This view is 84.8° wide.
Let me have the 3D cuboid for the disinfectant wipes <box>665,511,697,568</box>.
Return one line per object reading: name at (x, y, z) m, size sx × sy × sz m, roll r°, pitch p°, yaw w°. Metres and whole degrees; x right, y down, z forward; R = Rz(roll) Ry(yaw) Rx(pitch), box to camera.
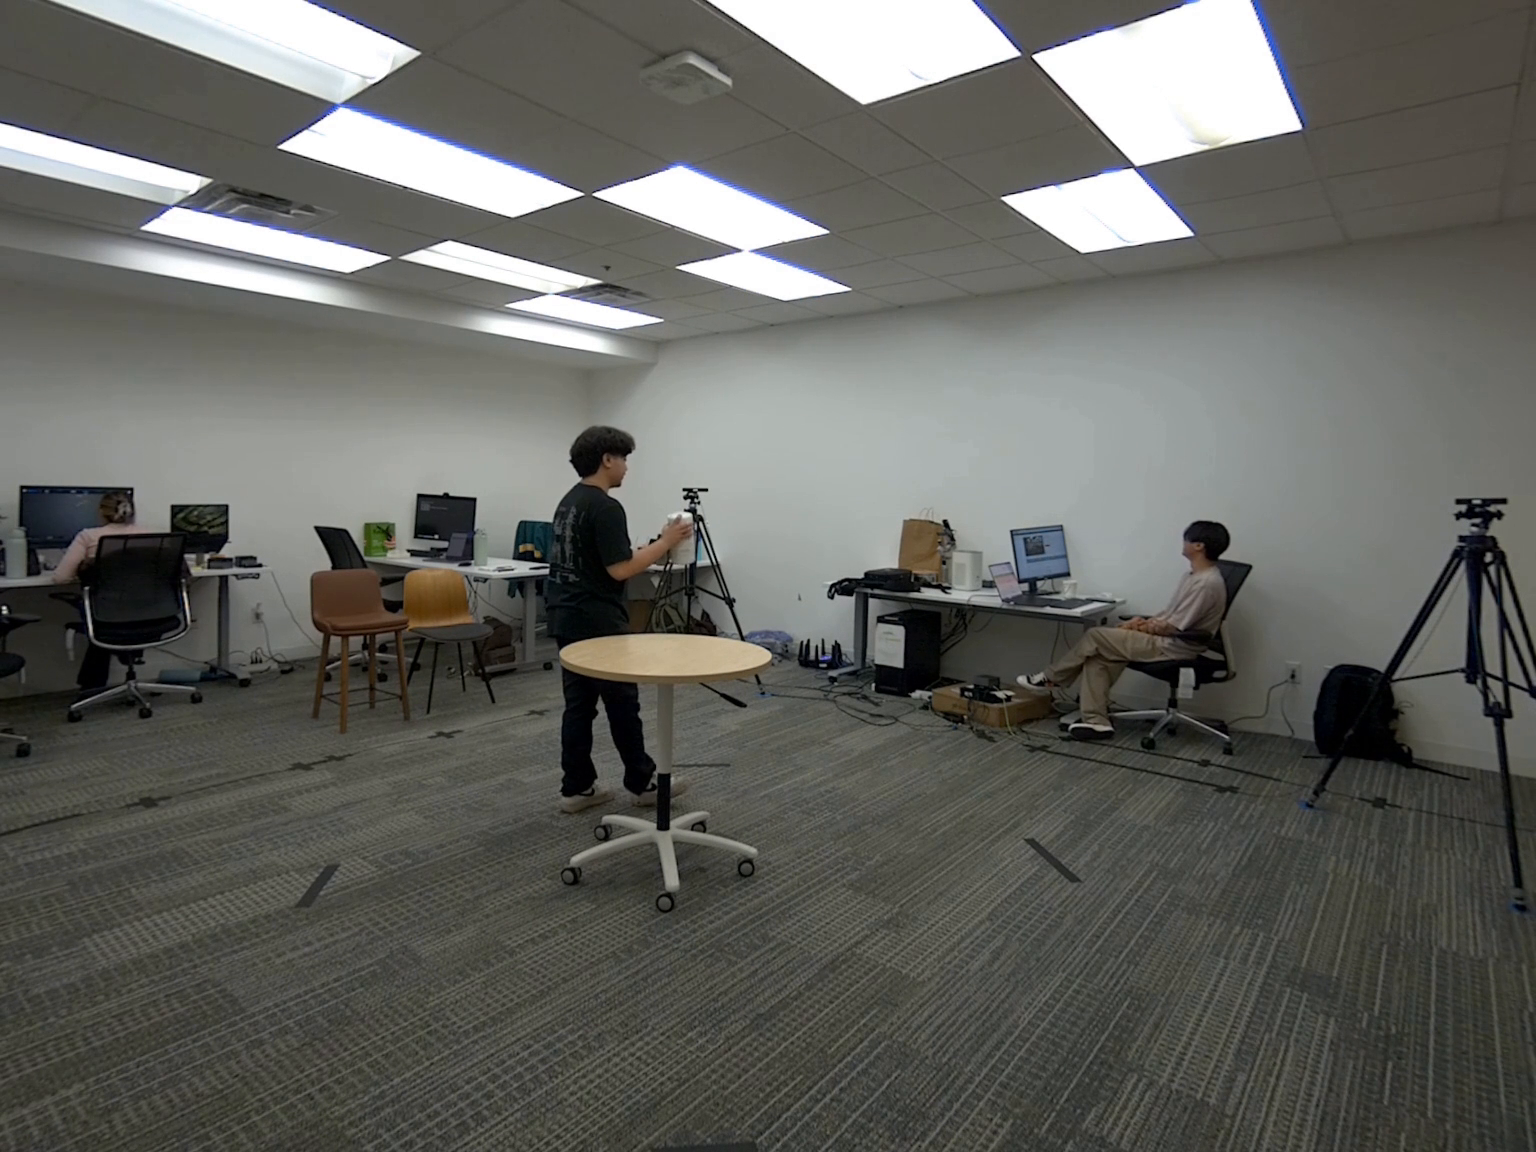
disinfectant wipes at (-0.385, -0.165, 3.713) m, size 0.118 × 0.214 × 0.119 m, roll -2°, pitch 15°, yaw -1°
